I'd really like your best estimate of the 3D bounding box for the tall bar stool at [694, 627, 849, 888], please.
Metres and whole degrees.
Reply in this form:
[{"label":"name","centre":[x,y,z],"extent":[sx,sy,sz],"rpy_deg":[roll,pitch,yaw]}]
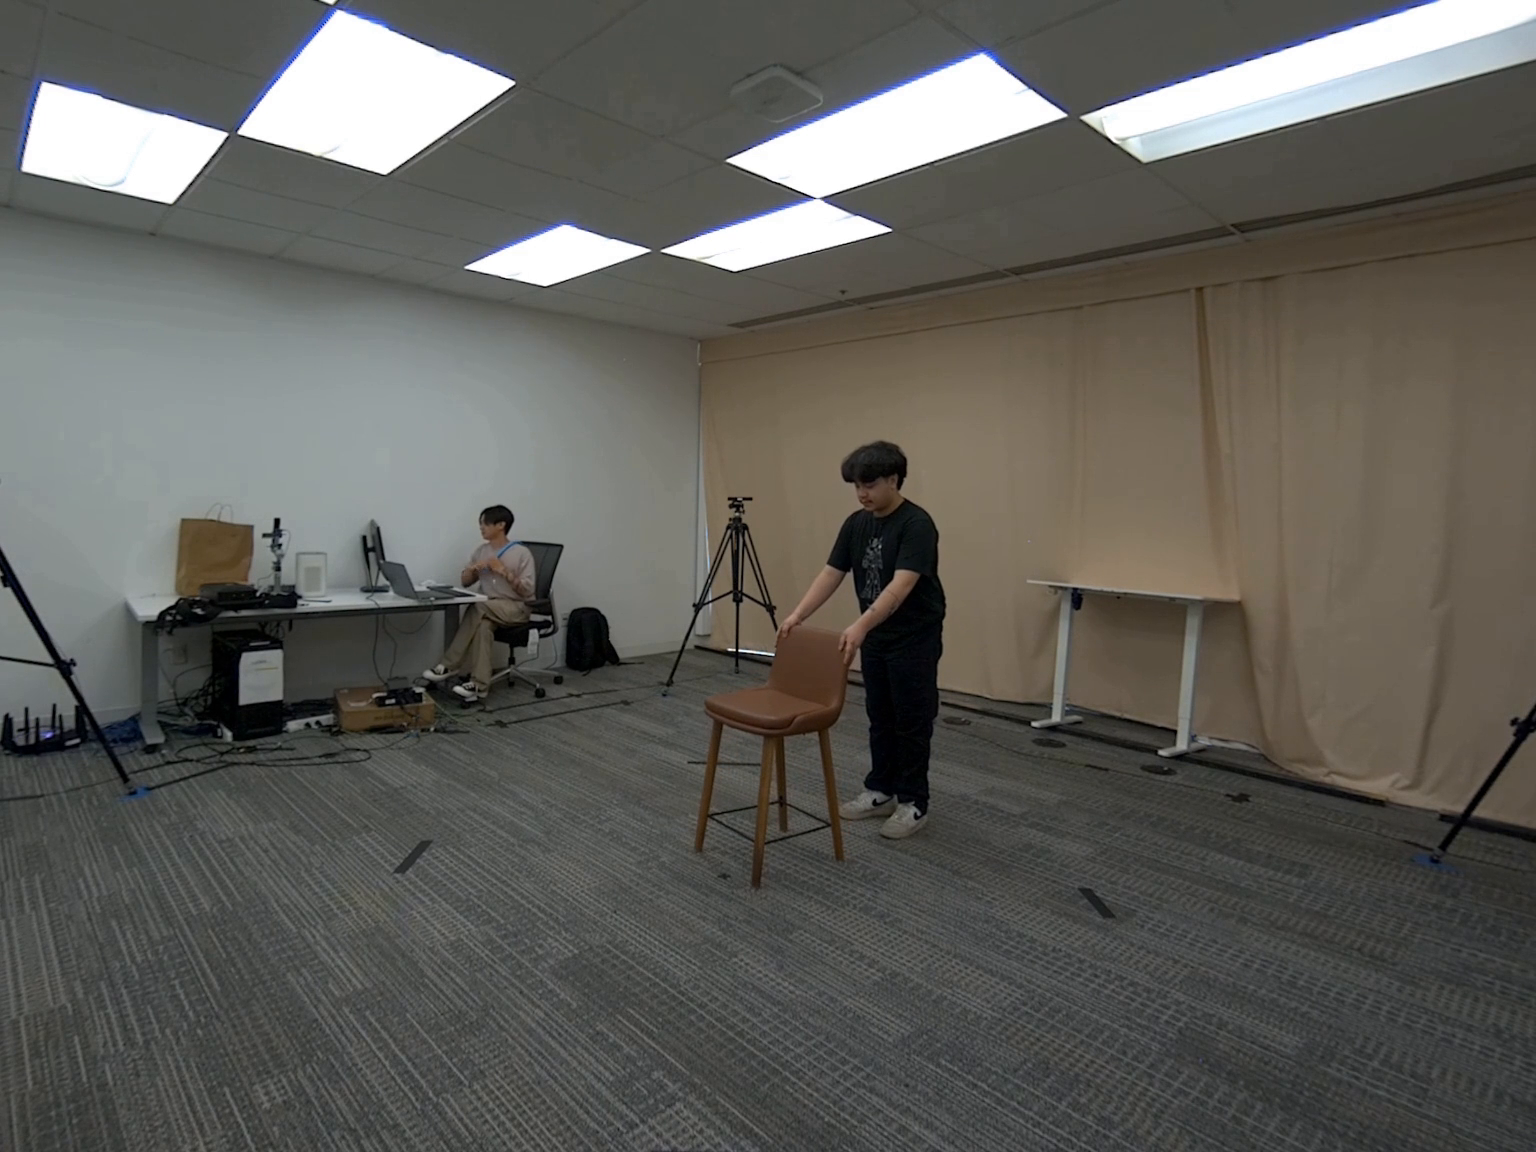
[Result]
[{"label":"tall bar stool","centre":[0.022,0.659,3.277],"extent":[0.457,0.889,0.468],"rpy_deg":[2,2,-37]}]
